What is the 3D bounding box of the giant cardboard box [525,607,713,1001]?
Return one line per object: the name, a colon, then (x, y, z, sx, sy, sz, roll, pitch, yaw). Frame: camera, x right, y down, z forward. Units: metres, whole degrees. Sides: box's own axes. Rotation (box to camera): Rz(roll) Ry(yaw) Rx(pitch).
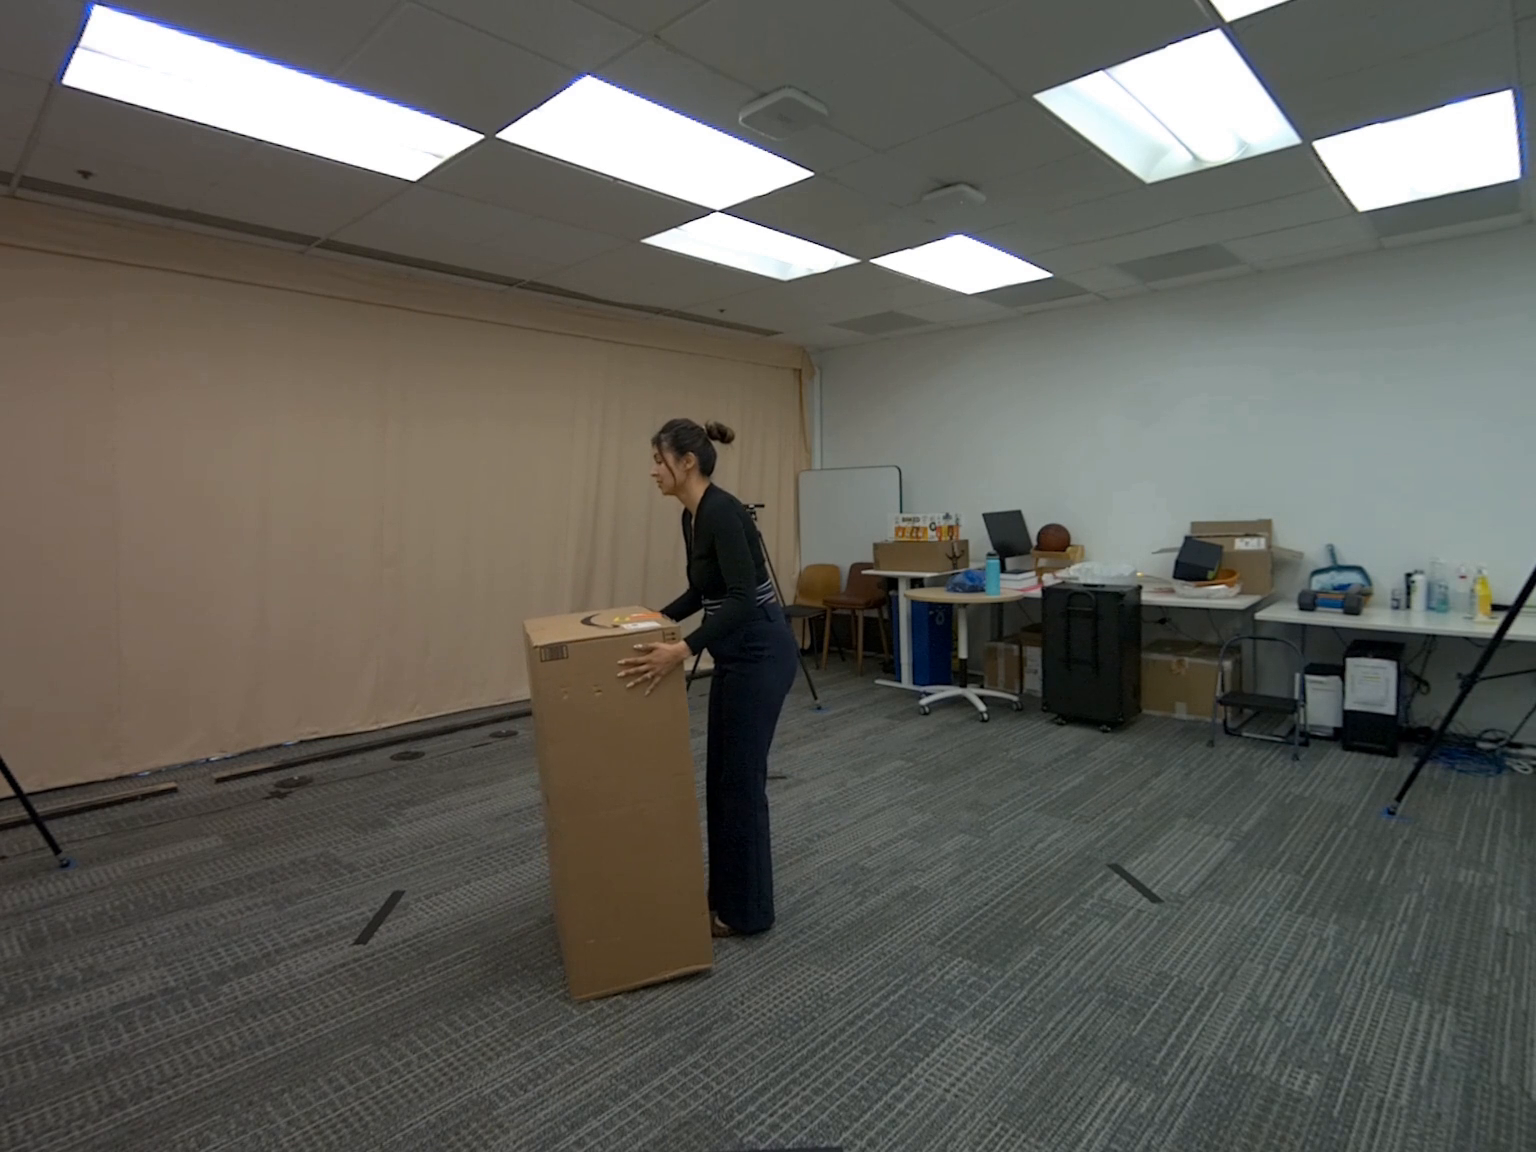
giant cardboard box: (-0.492, 0.659, 2.666, 0.419, 1.023, 0.588, -6, 4, -17)
